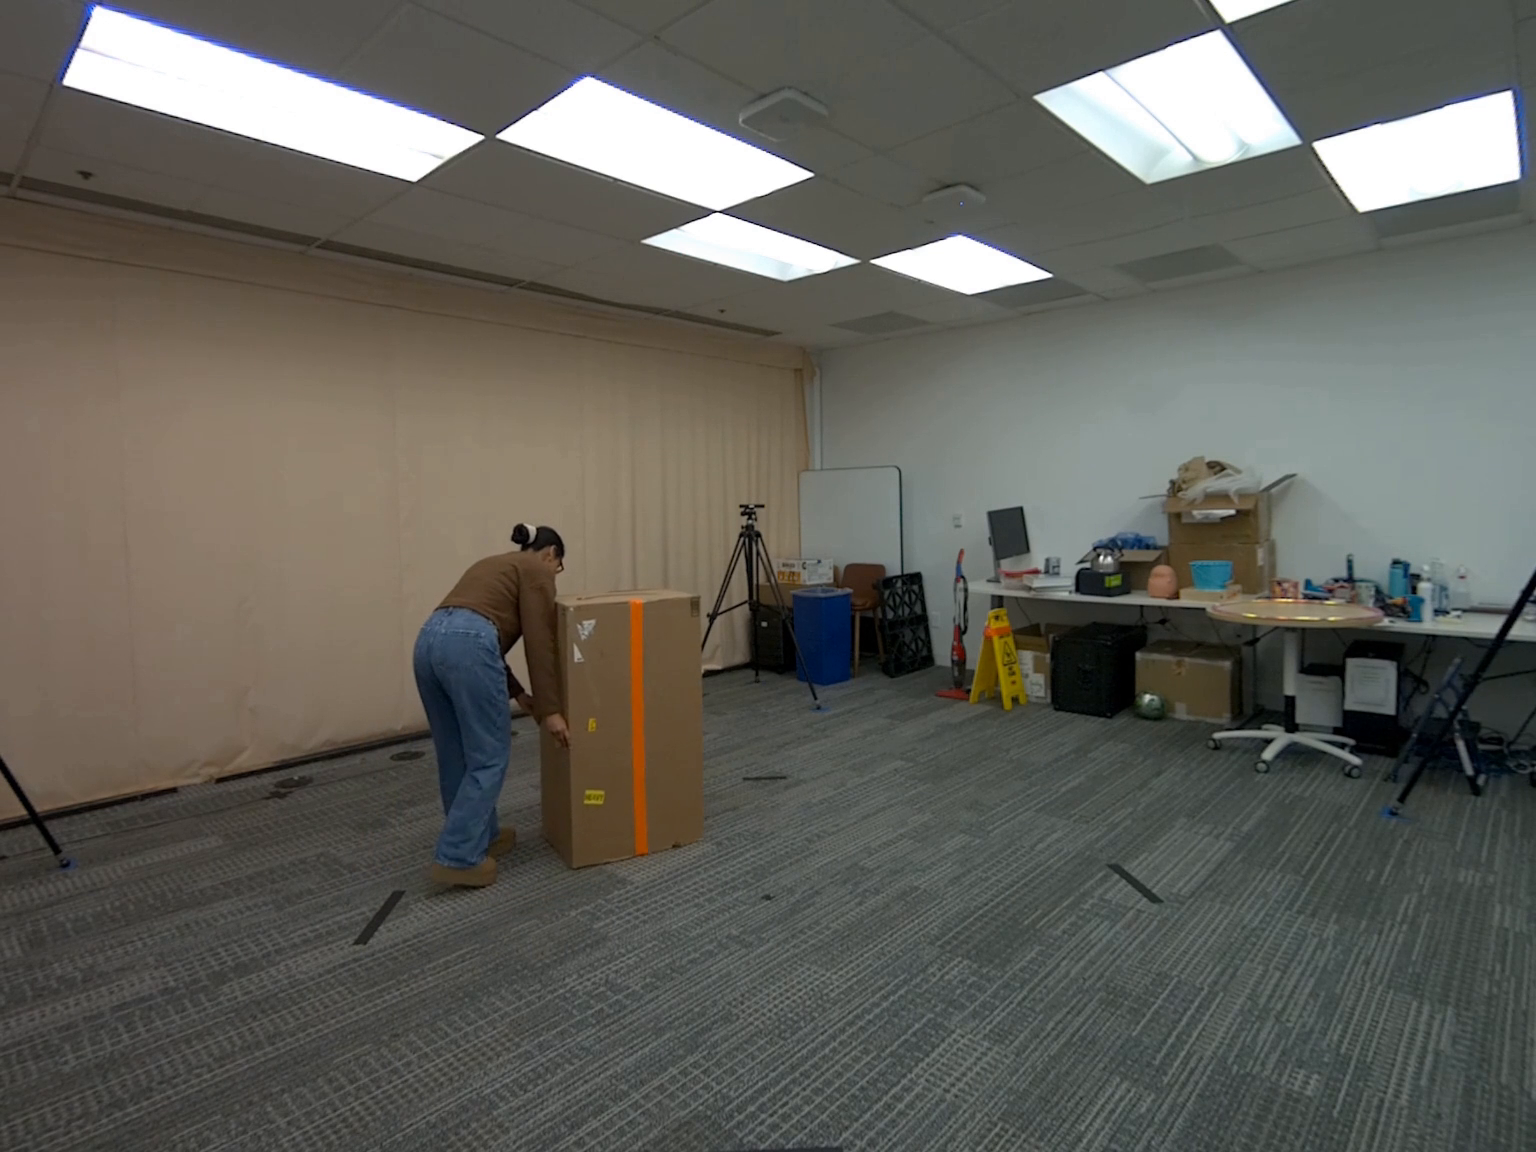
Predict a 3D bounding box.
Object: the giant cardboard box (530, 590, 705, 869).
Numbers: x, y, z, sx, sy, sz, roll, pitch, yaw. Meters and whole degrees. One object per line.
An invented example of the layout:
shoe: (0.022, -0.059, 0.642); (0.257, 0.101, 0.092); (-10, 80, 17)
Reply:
giant cardboard box: (-0.623, 0.598, 3.535); (0.562, 1.024, 0.438); (-1, 2, -30)
